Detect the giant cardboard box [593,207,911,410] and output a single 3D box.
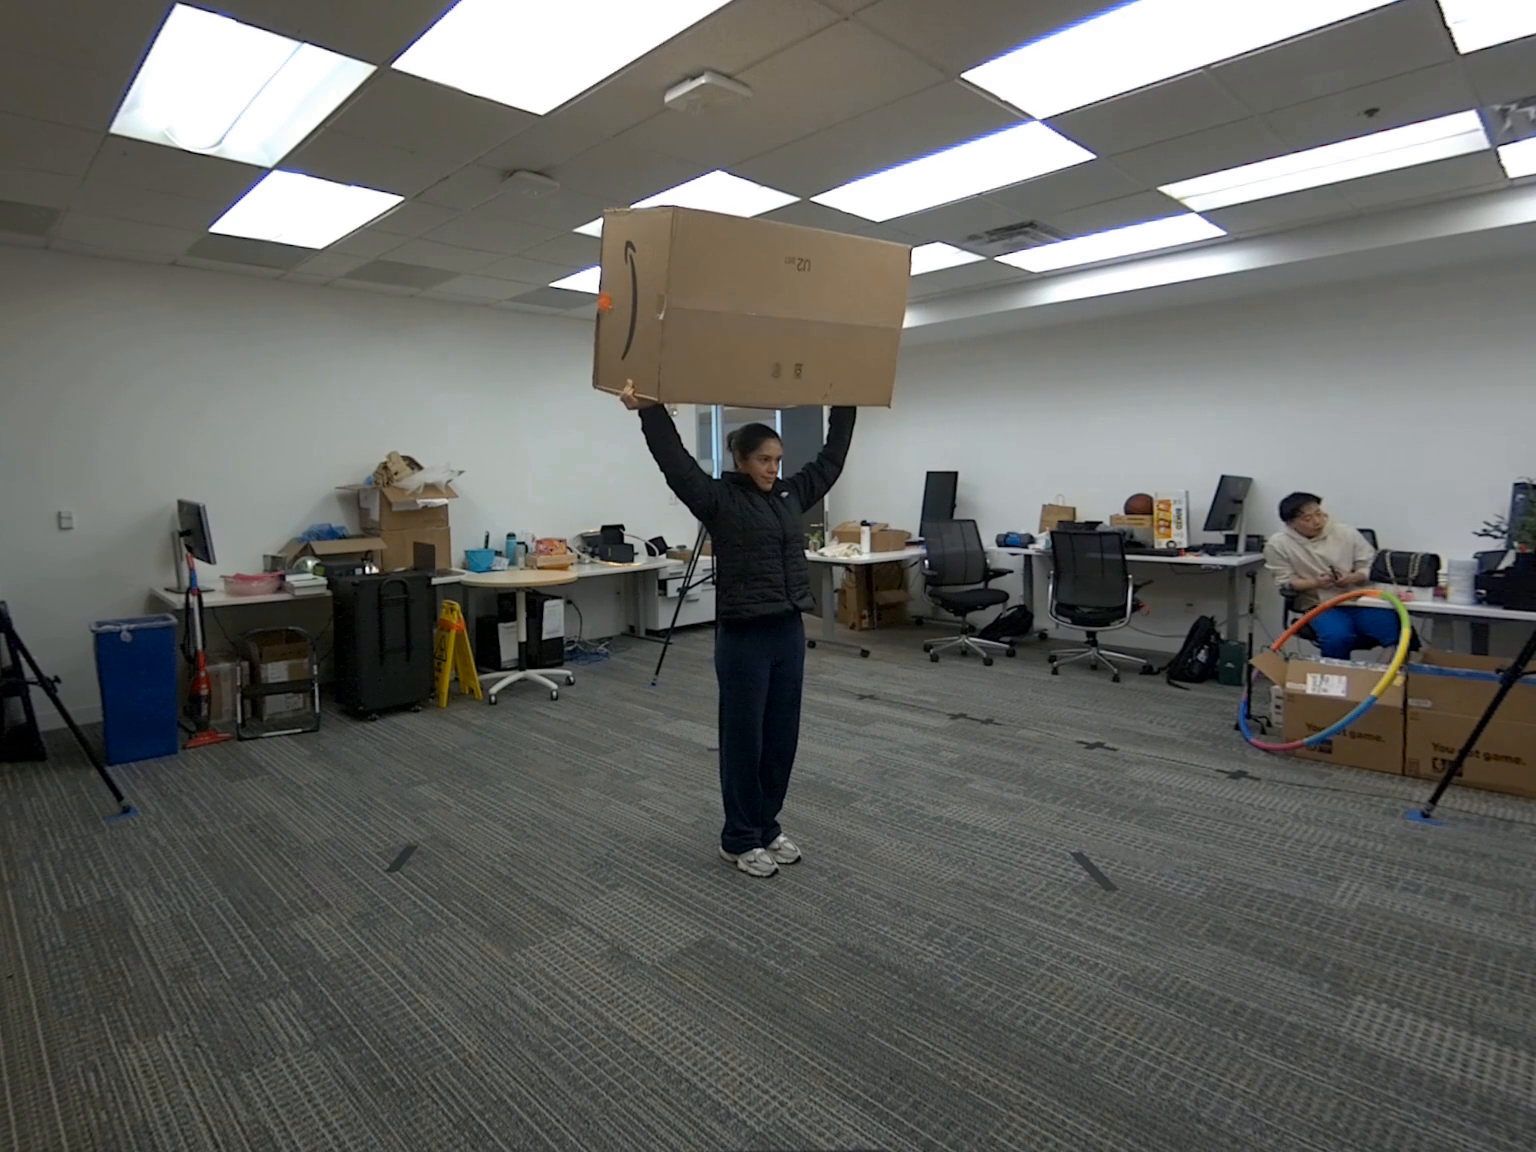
[{"bbox_3d":[-0.038,-0.900,2.972,1.001,0.577,0.463,-7,19,-38],"label":"giant cardboard box"}]
